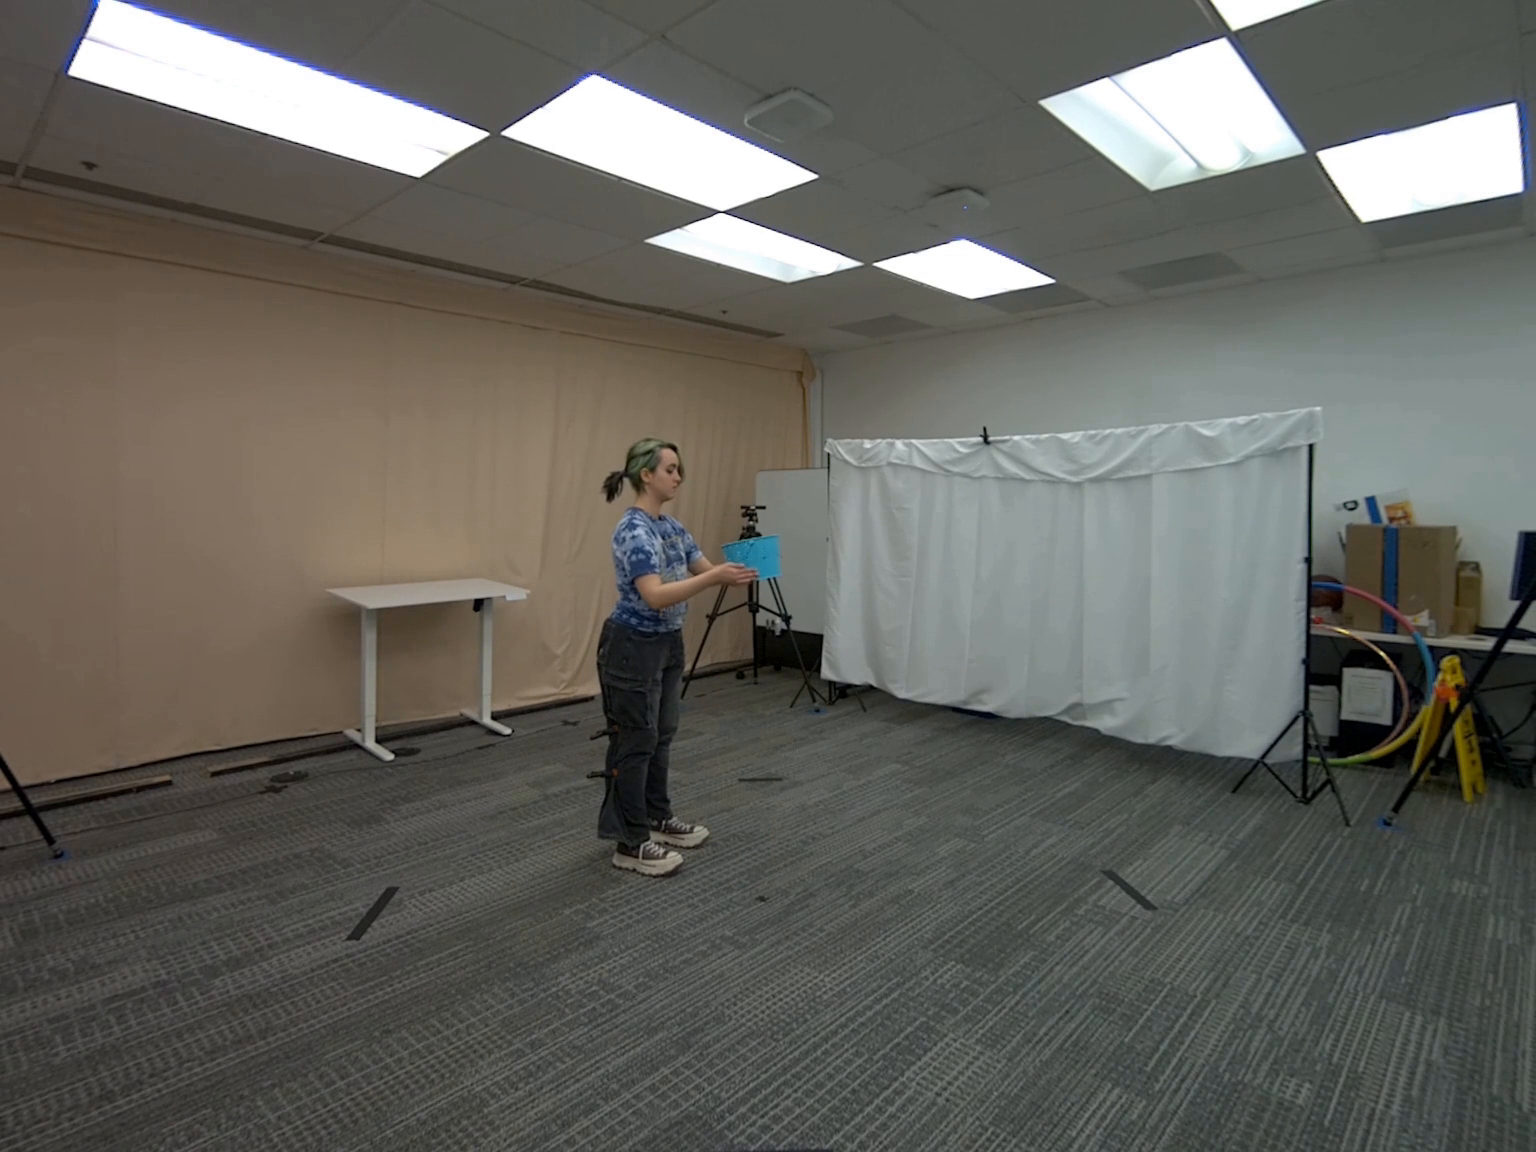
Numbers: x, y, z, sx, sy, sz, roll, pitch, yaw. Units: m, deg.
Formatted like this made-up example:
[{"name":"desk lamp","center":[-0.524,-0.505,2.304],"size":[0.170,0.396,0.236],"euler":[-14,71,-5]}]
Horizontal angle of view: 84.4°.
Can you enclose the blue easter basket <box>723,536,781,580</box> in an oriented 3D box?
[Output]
[{"name":"blue easter basket","center":[-0.075,-0.058,3.178],"size":[0.243,0.156,0.244],"euler":[-10,1,-2]}]
